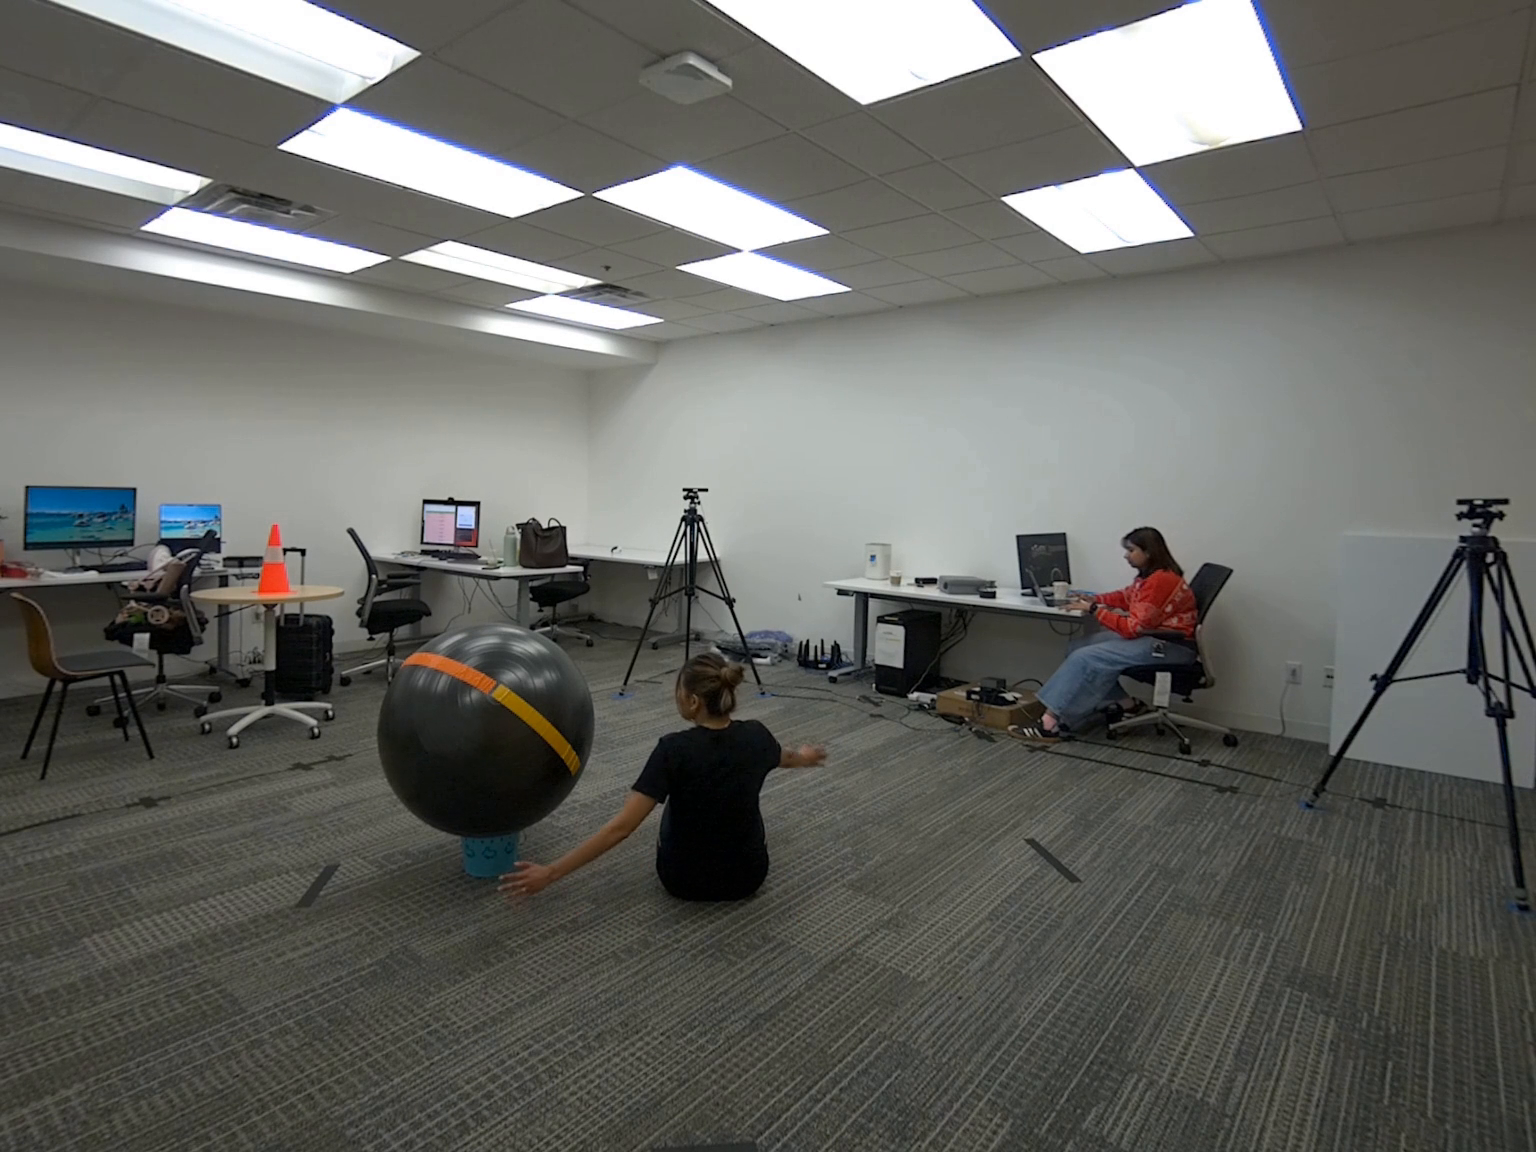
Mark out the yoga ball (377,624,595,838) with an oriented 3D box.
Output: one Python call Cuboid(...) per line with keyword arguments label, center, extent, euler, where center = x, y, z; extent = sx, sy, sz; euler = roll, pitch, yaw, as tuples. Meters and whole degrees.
Cuboid(label="yoga ball", center=(-1.022, 0.555, 3.075), extent=(0.757, 0.756, 0.762), euler=(1, 4, -2))
